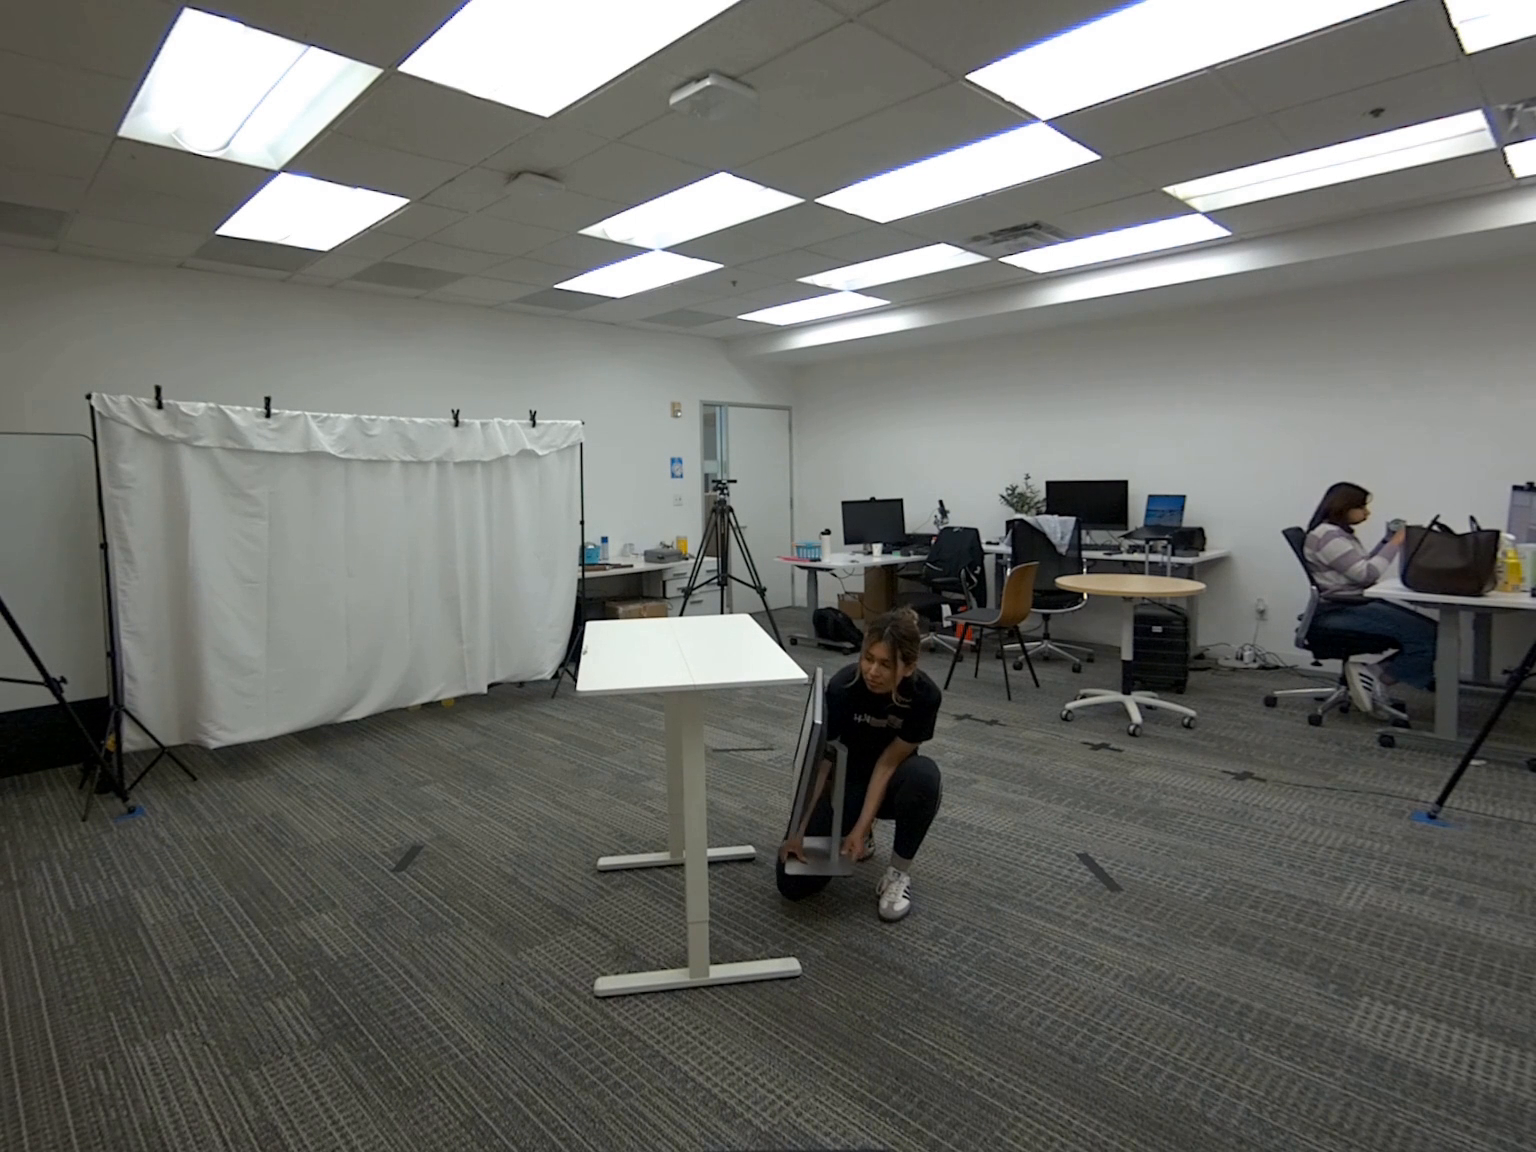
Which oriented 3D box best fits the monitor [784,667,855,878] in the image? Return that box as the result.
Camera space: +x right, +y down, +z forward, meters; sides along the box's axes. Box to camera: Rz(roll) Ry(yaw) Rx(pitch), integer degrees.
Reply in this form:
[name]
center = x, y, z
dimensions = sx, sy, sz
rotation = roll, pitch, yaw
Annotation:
[monitor]
center = 0.157, 0.634, 2.660
dimensions = 0.188, 0.519, 0.540
rotation = 0, 8, 3
